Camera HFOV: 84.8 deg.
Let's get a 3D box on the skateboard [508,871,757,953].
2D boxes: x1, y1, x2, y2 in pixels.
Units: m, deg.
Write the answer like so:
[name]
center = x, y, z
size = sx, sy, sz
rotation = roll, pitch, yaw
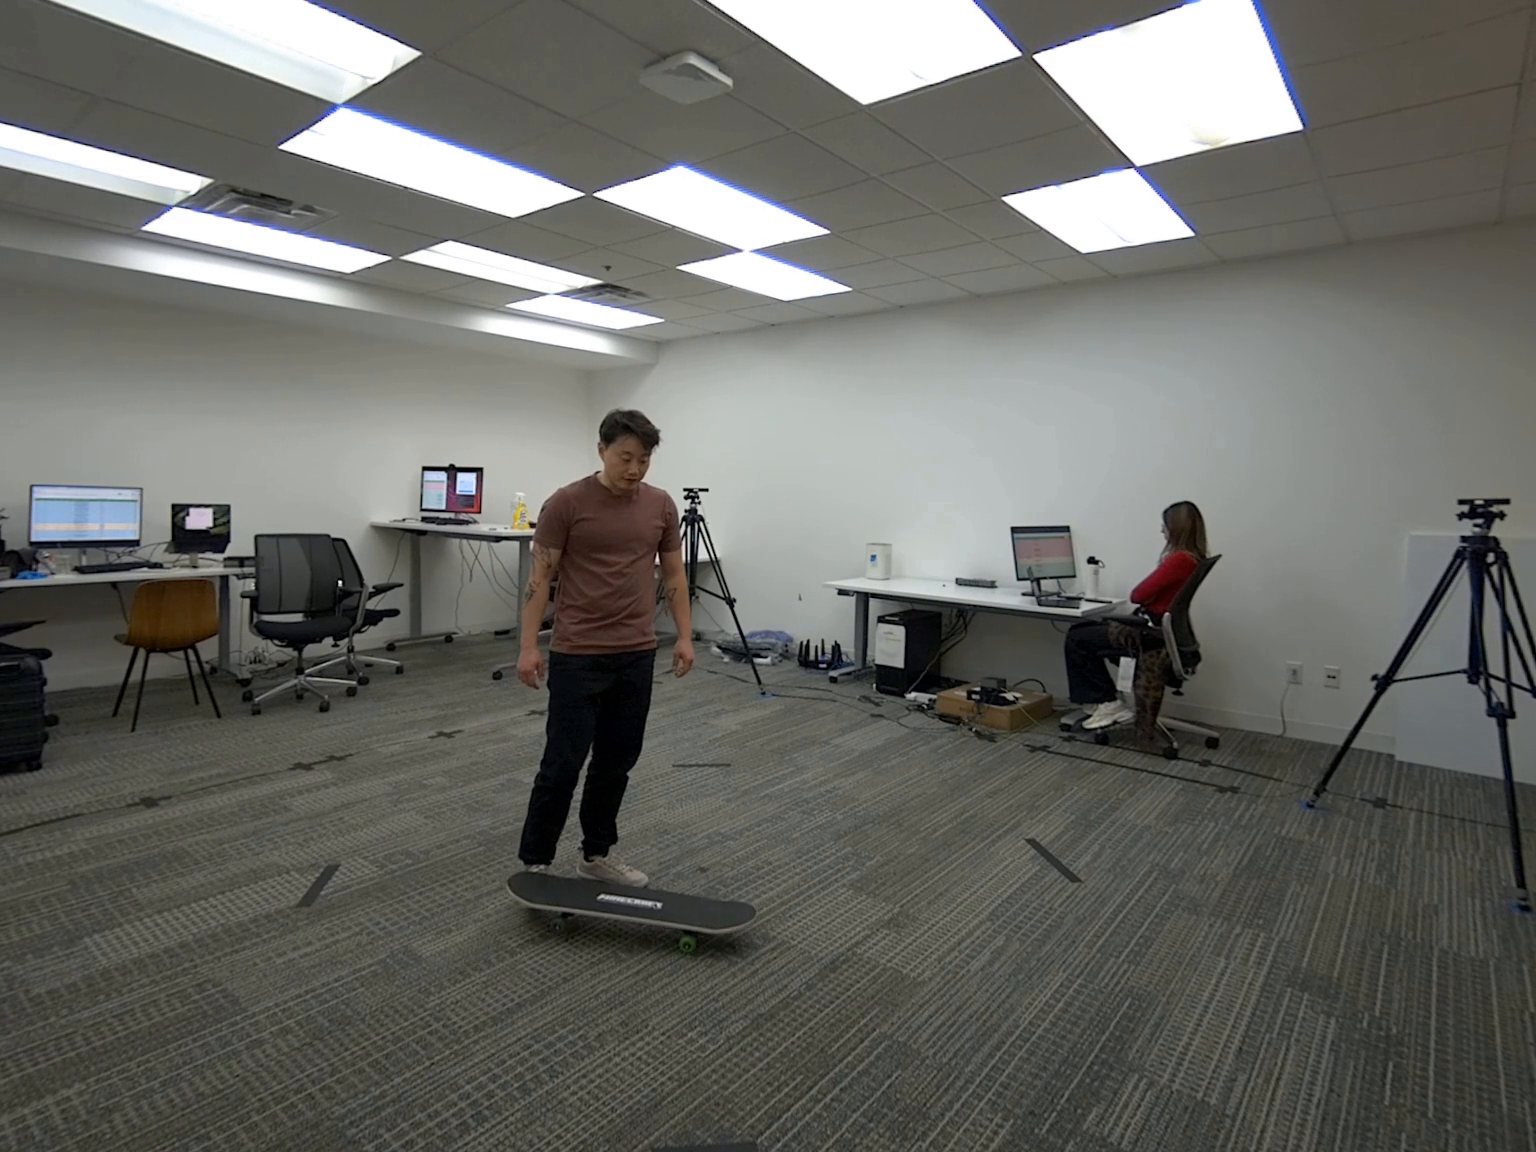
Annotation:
[skateboard]
center = -0.437, 1.041, 2.640
size = 0.791, 0.110, 0.193
rotation = 5, 4, 6
